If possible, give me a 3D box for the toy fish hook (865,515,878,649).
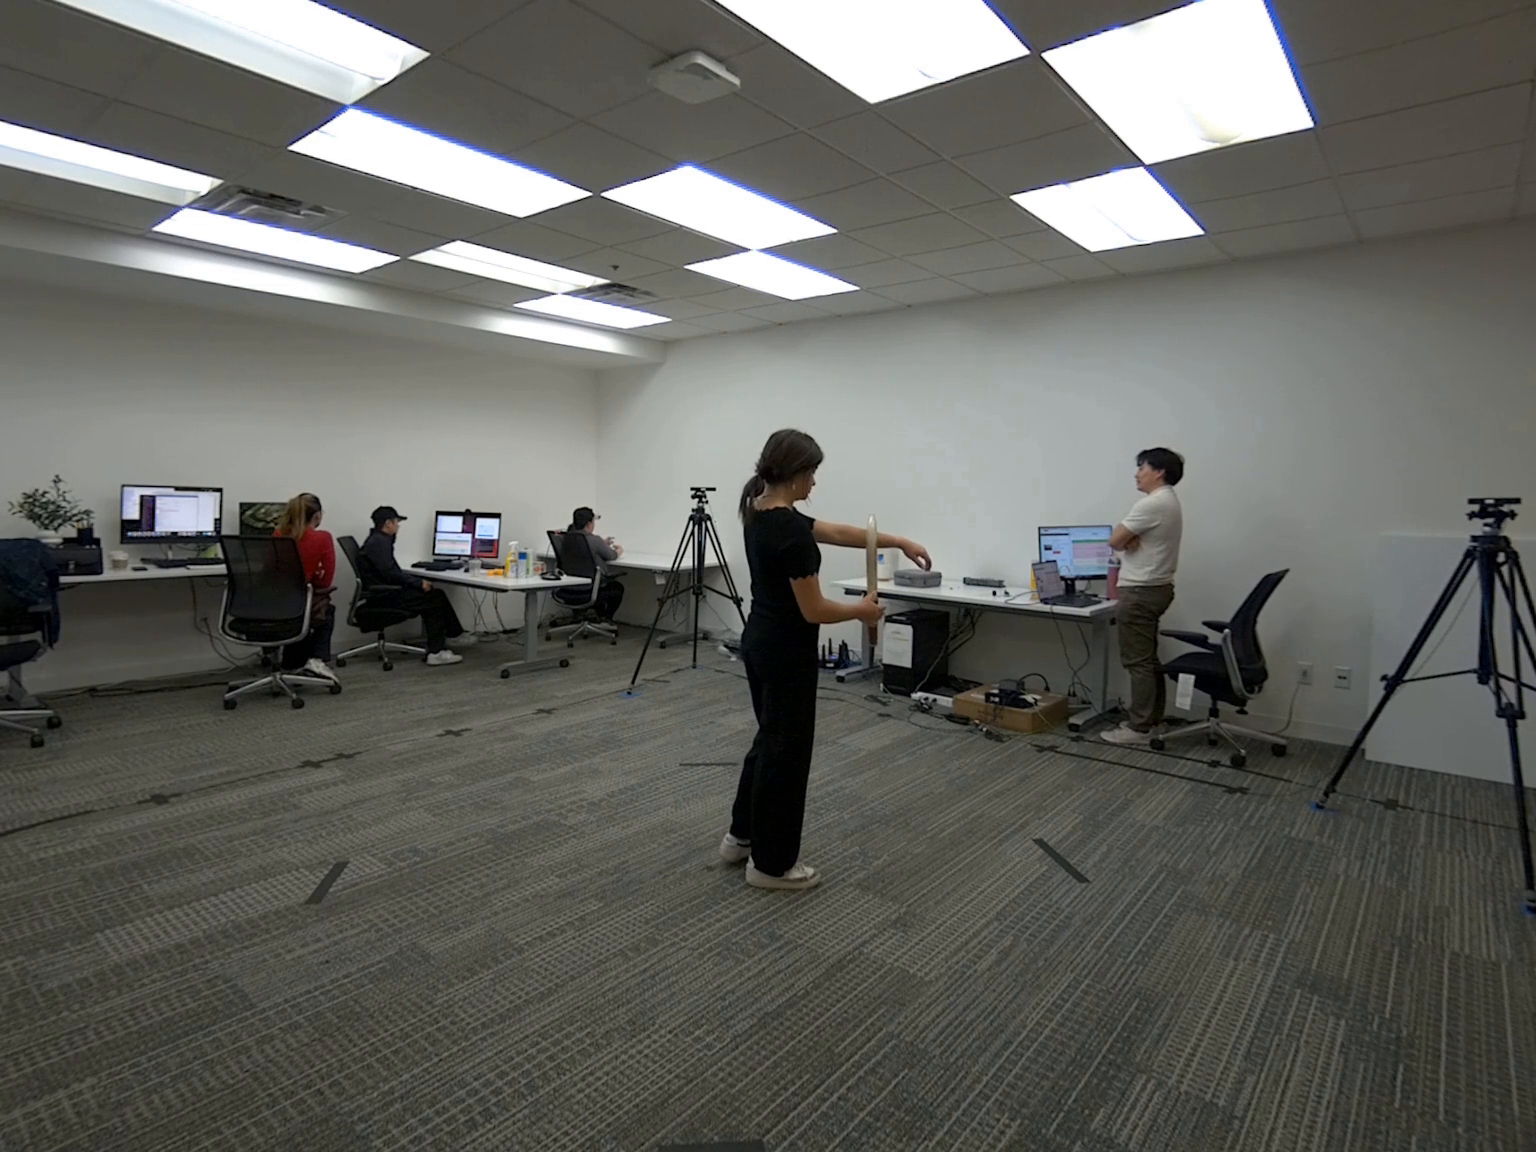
[{"bbox_3d":[0.381,0.019,3.164,0.049,0.499,0.225,2,16,12],"label":"toy fish hook"}]
